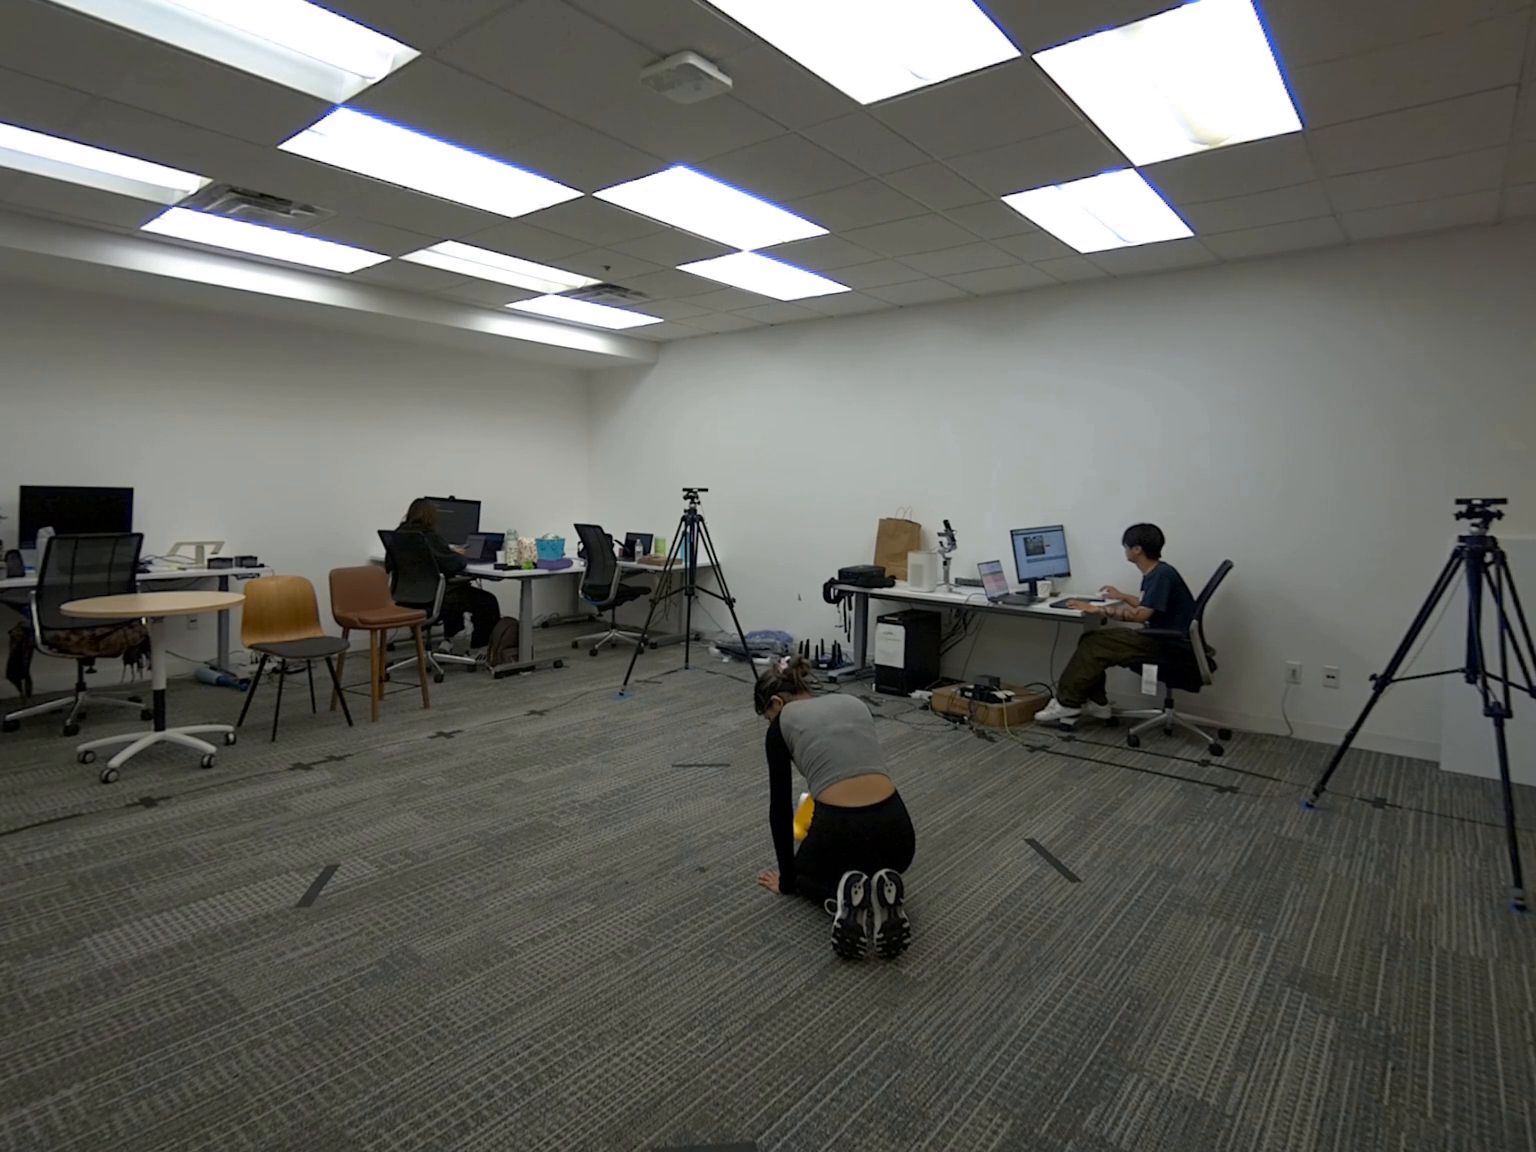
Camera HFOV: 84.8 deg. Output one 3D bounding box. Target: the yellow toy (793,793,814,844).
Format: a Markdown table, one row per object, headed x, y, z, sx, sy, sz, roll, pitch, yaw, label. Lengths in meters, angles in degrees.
| x | y | z | sx | sy | sz | roll | pitch | yaw | label |
| --- | --- | --- | --- | --- | --- | --- | --- | --- | --- |
| 0.191 | 0.927 | 3.441 | 0.205 | 0.230 | 0.193 | 1 | 5 | 0 | yellow toy |
